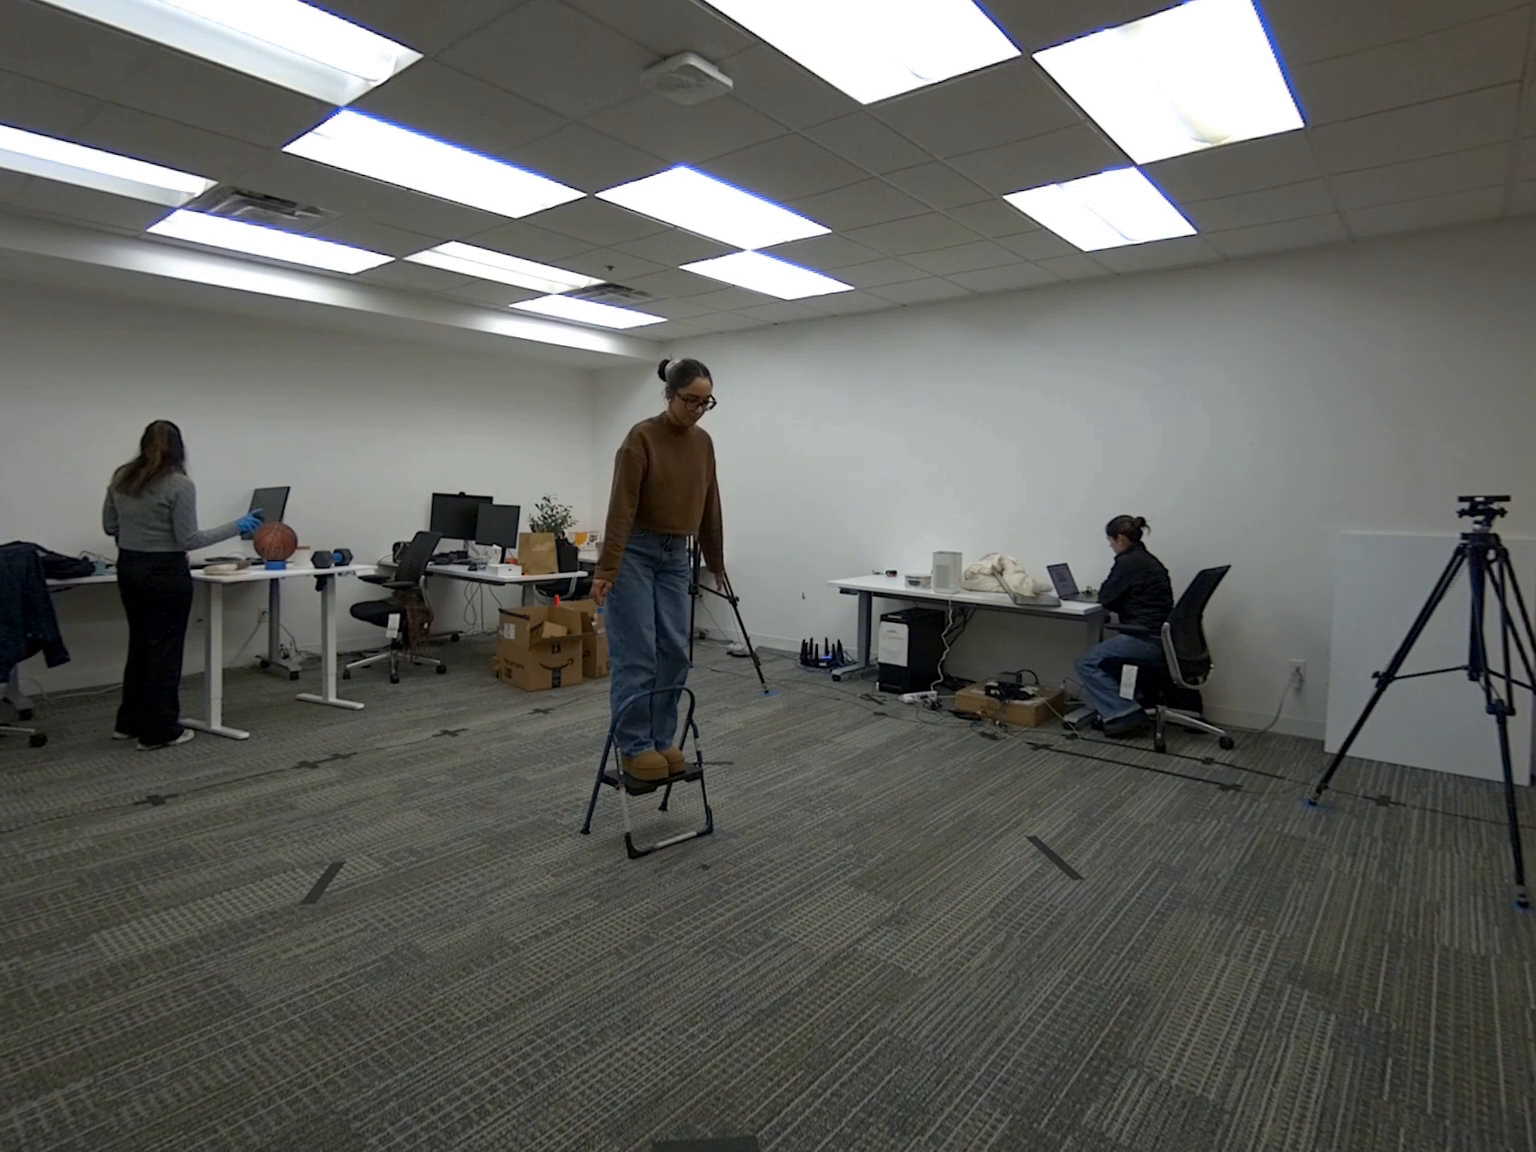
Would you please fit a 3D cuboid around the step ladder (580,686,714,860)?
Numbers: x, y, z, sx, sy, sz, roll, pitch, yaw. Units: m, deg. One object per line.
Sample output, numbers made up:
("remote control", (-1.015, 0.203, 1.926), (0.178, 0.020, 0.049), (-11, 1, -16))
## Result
("step ladder", (-0.488, 0.732, 3.413), (0.417, 0.604, 0.361), (-3, 5, -44))
